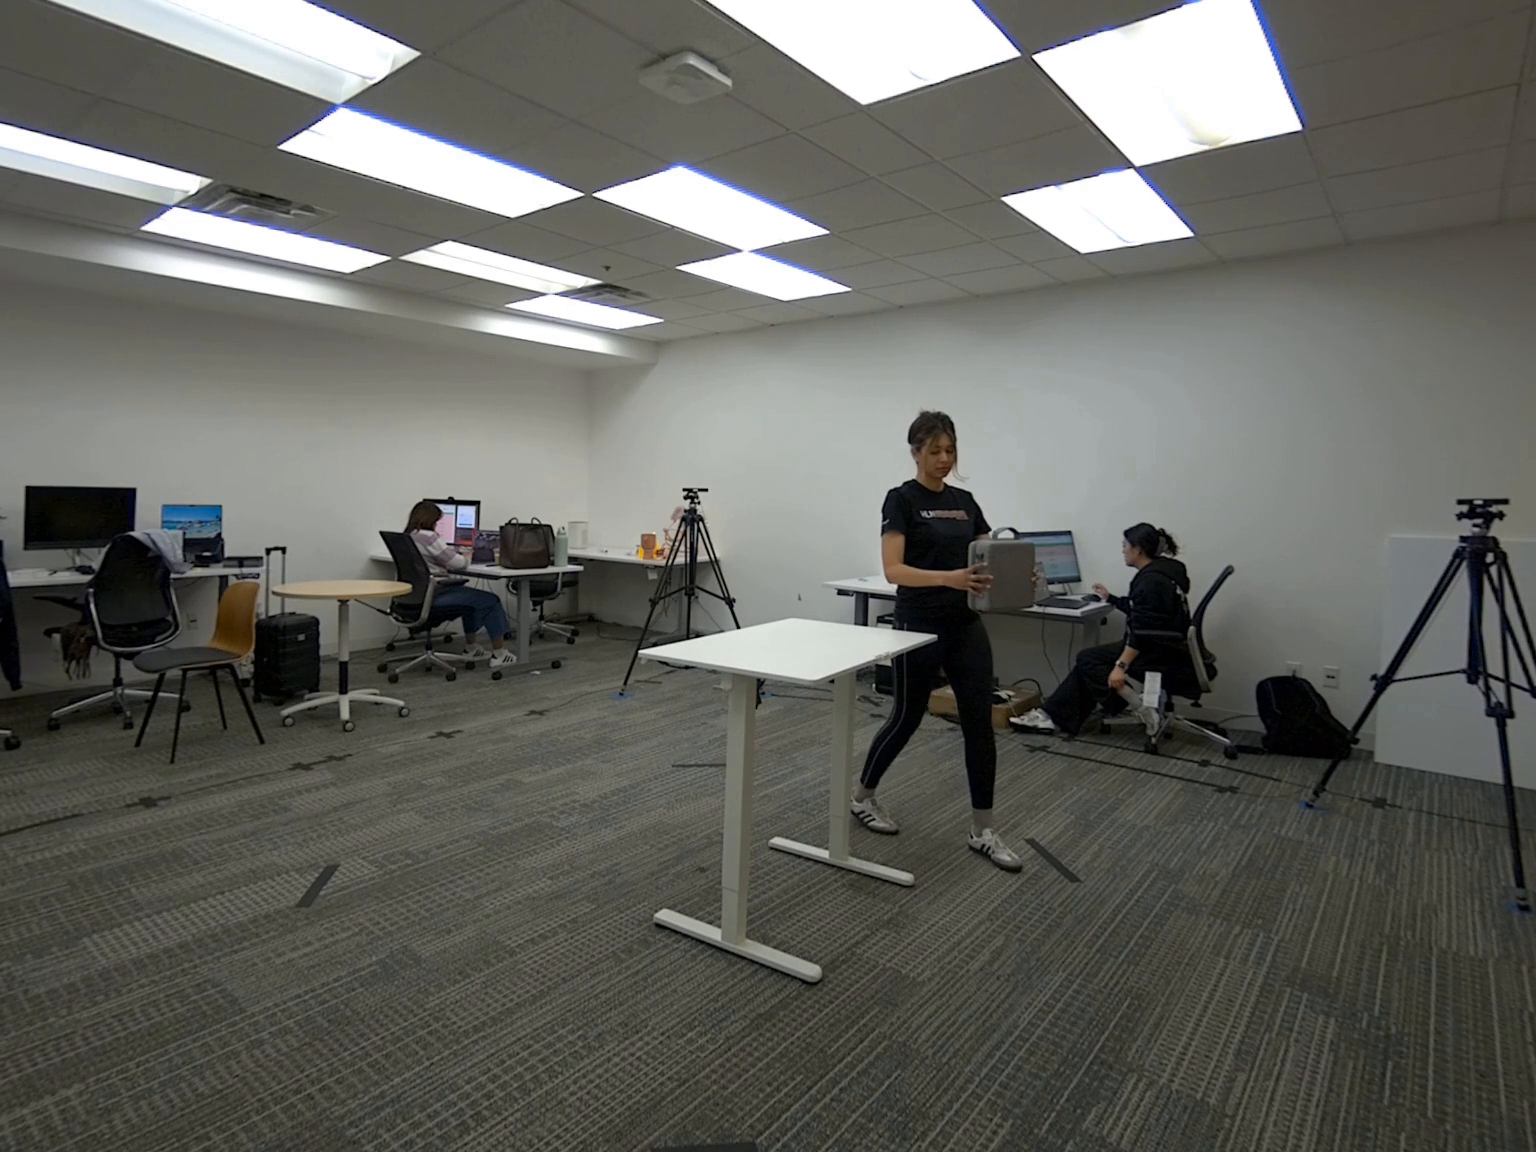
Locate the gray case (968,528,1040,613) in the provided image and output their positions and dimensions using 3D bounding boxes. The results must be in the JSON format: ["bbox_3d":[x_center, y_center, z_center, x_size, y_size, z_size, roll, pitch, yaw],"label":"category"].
[{"bbox_3d":[0.832,-0.015,3.037,0.250,0.260,0.107,-3,5,-30],"label":"gray case"}]
